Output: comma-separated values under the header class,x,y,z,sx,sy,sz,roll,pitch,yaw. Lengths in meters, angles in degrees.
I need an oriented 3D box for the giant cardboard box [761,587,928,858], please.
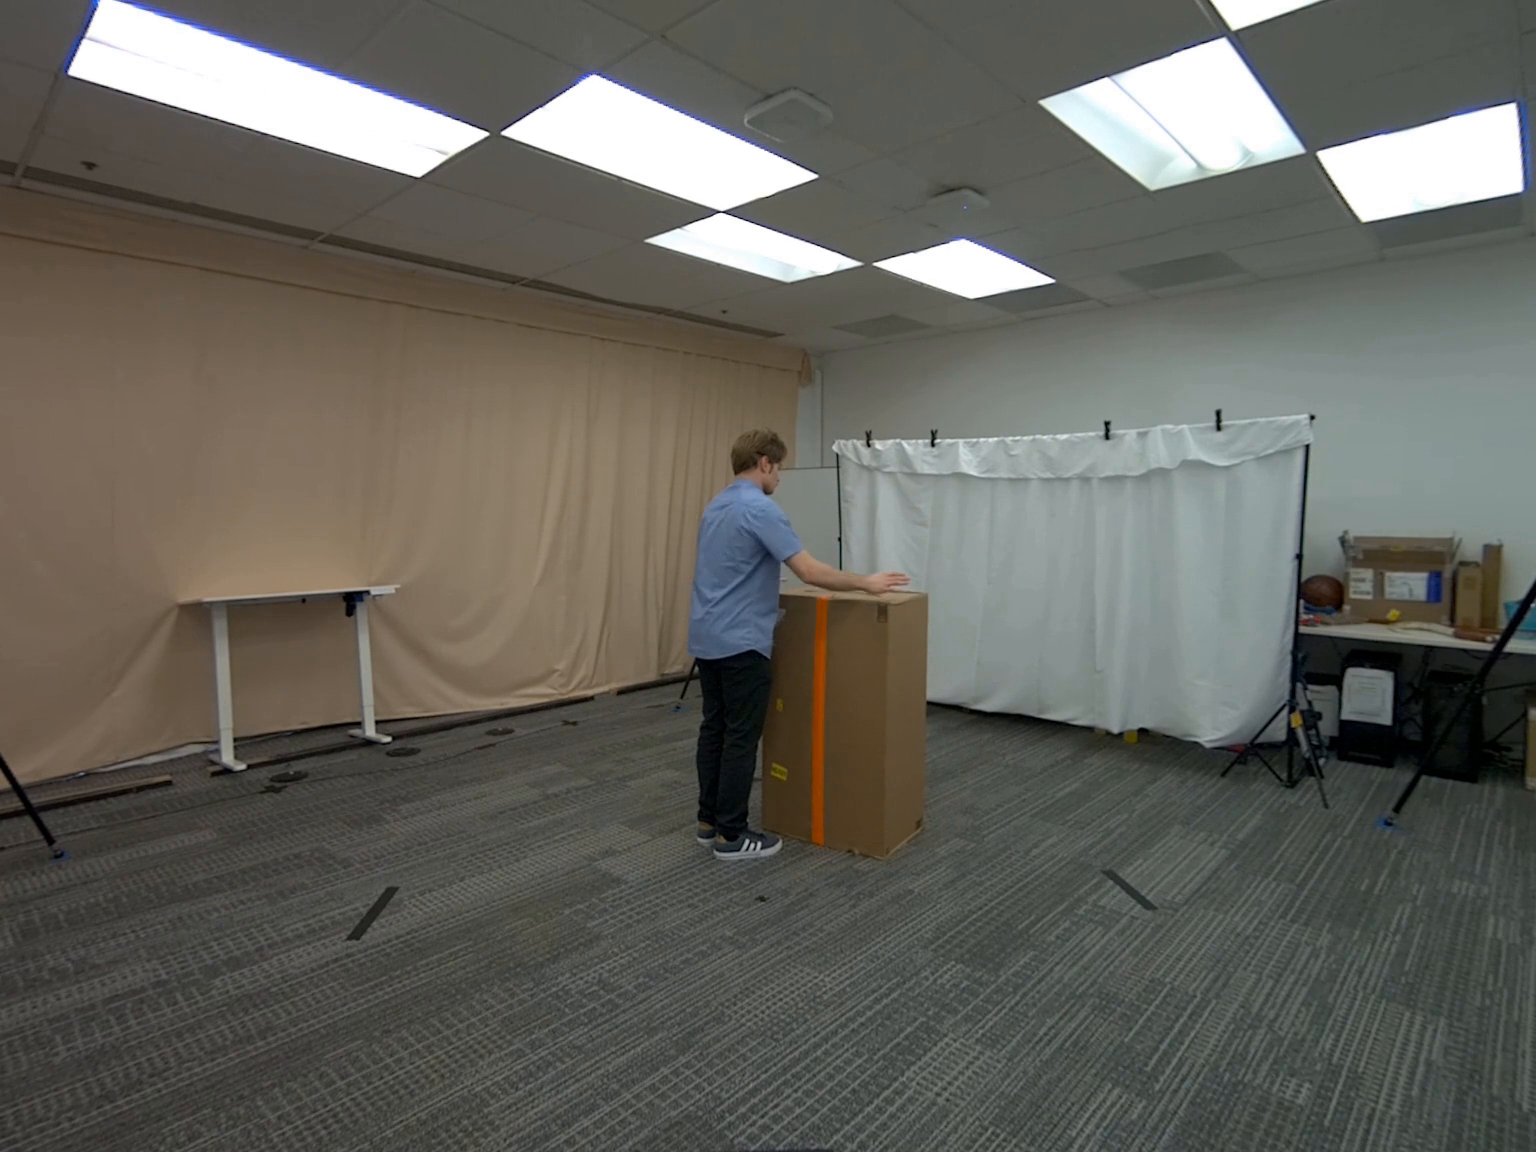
class,x,y,z,sx,sy,sz,roll,pitch,yaw
giant cardboard box,0.333,0.583,3.607,0.596,1.024,0.414,3,4,35
